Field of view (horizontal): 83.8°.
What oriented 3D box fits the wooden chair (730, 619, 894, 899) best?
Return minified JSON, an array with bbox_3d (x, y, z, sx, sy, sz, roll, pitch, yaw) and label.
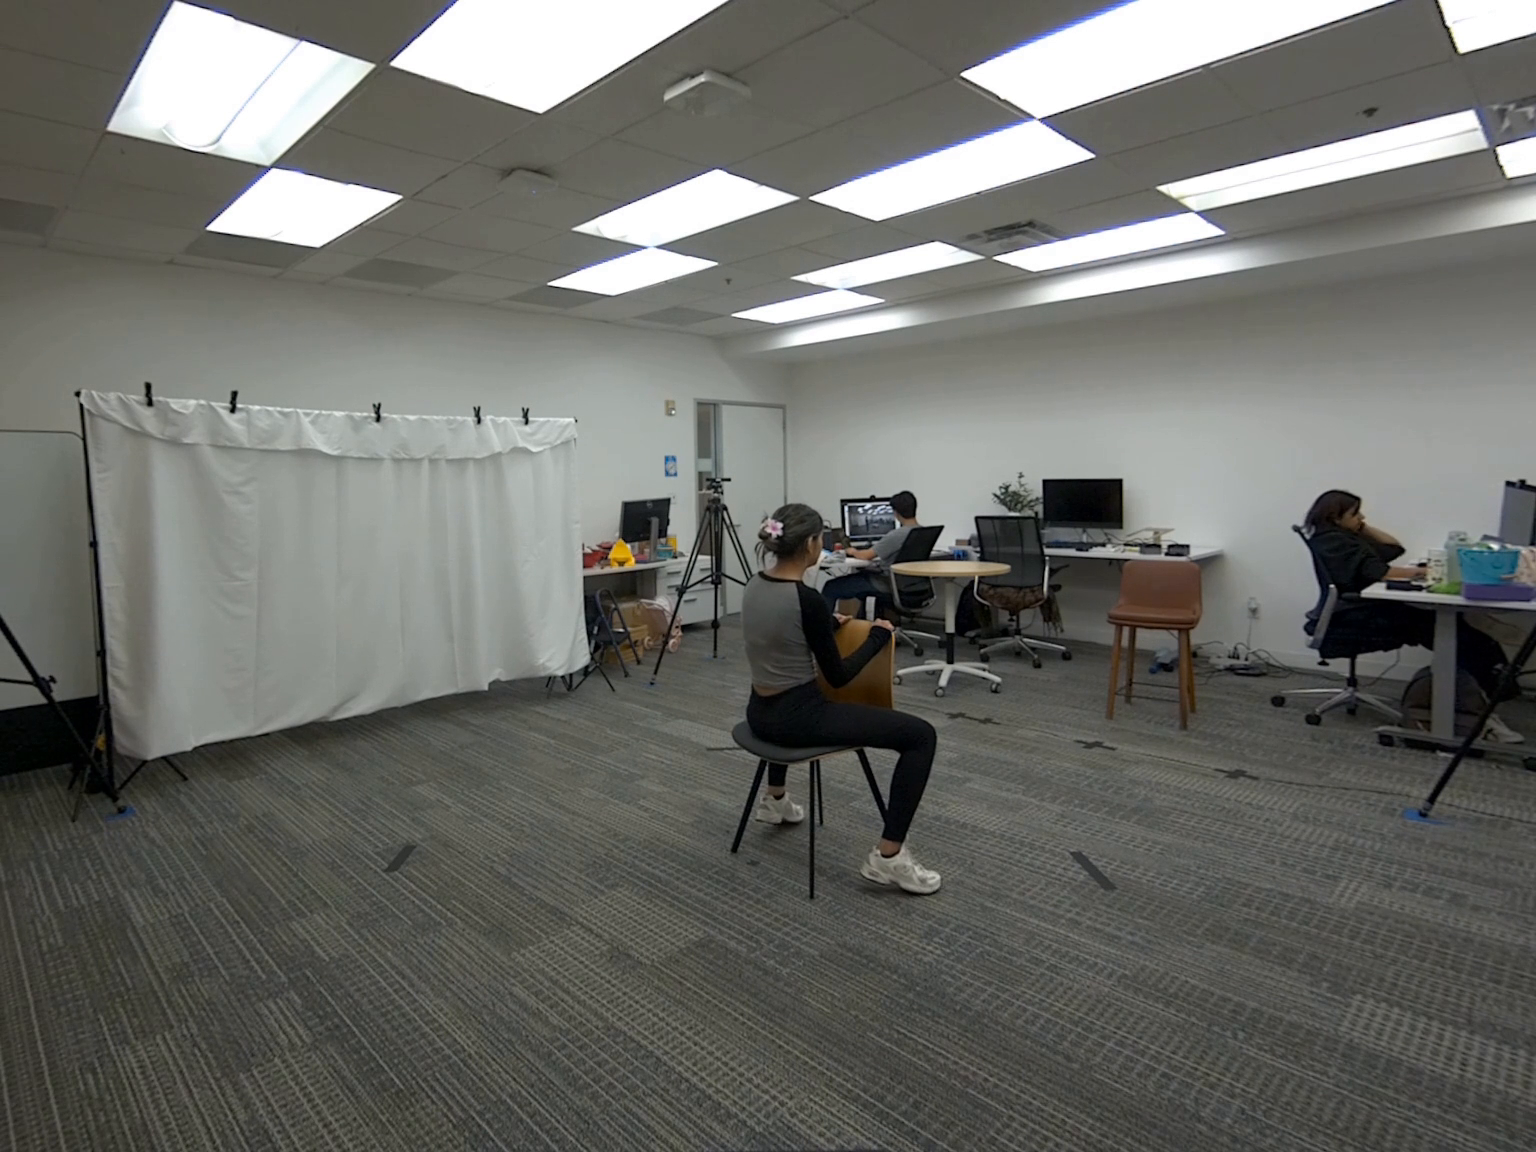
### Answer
[{"bbox_3d":[0.168,0.612,3.103,0.508,0.877,0.492,3,1,-37],"label":"wooden chair"}]
